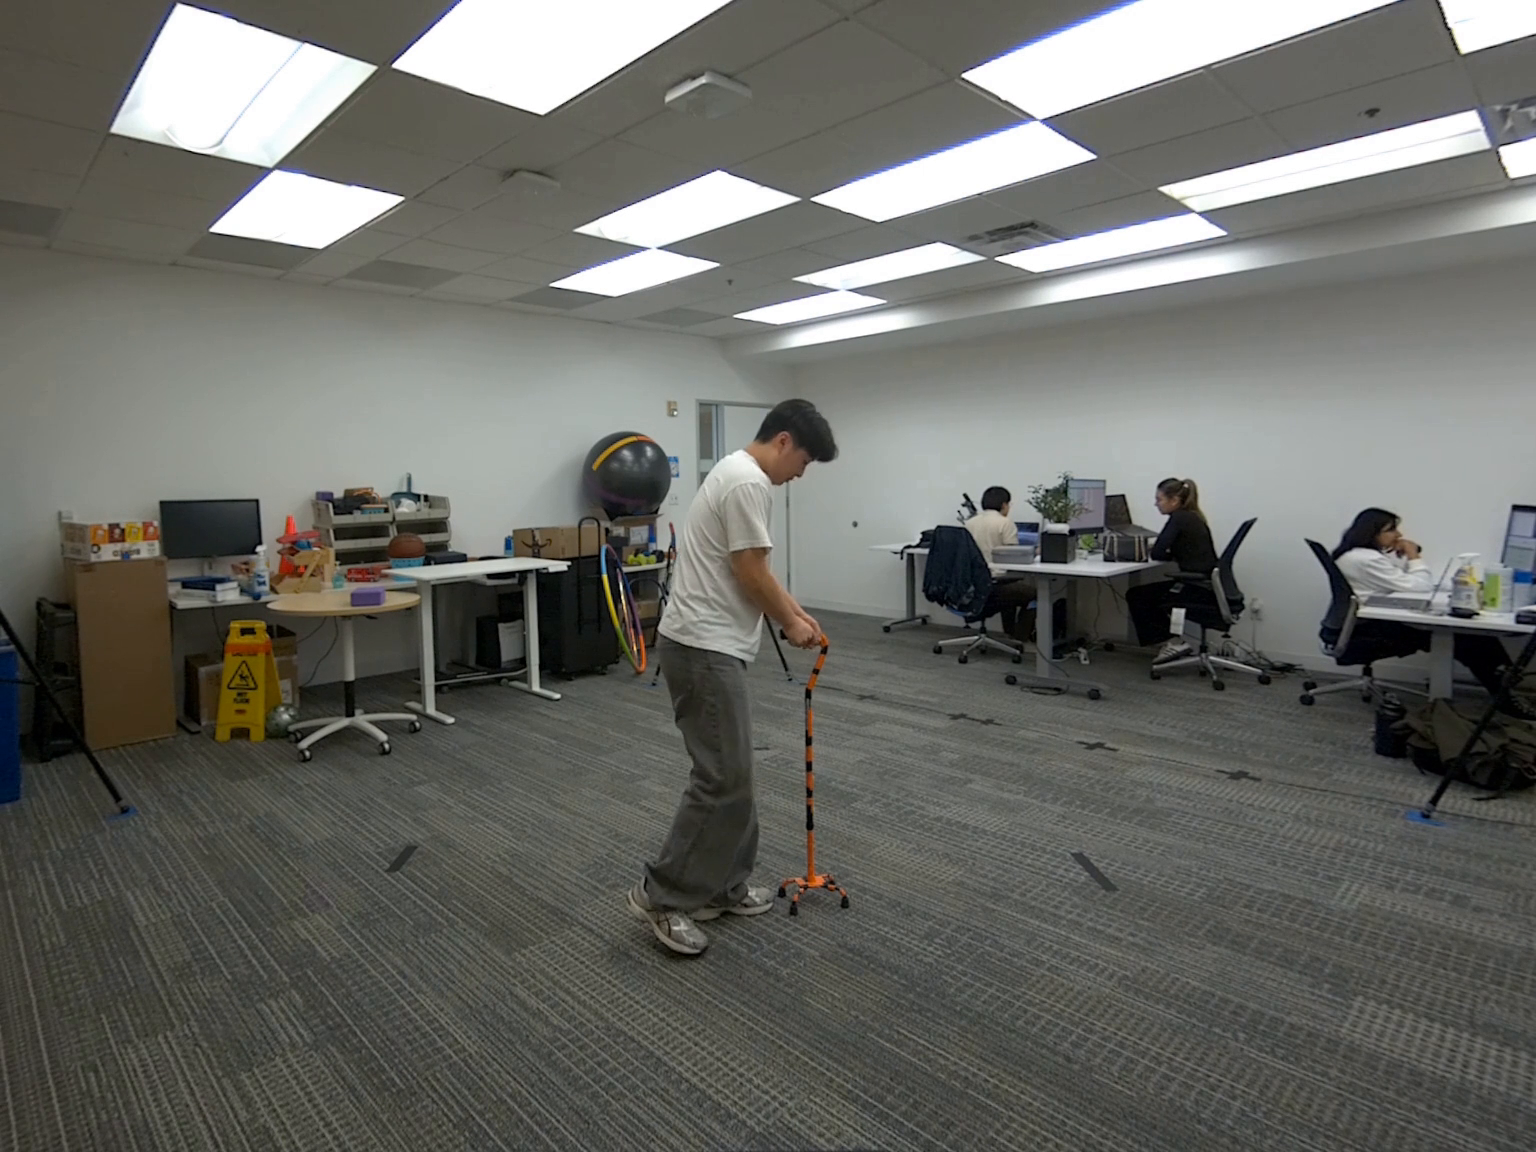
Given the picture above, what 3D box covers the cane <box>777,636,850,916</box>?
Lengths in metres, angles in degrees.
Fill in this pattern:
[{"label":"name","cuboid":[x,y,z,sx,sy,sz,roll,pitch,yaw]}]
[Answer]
[{"label":"cane","cuboid":[0.146,0.630,2.794,0.203,0.904,0.154,-2,4,-17]}]
